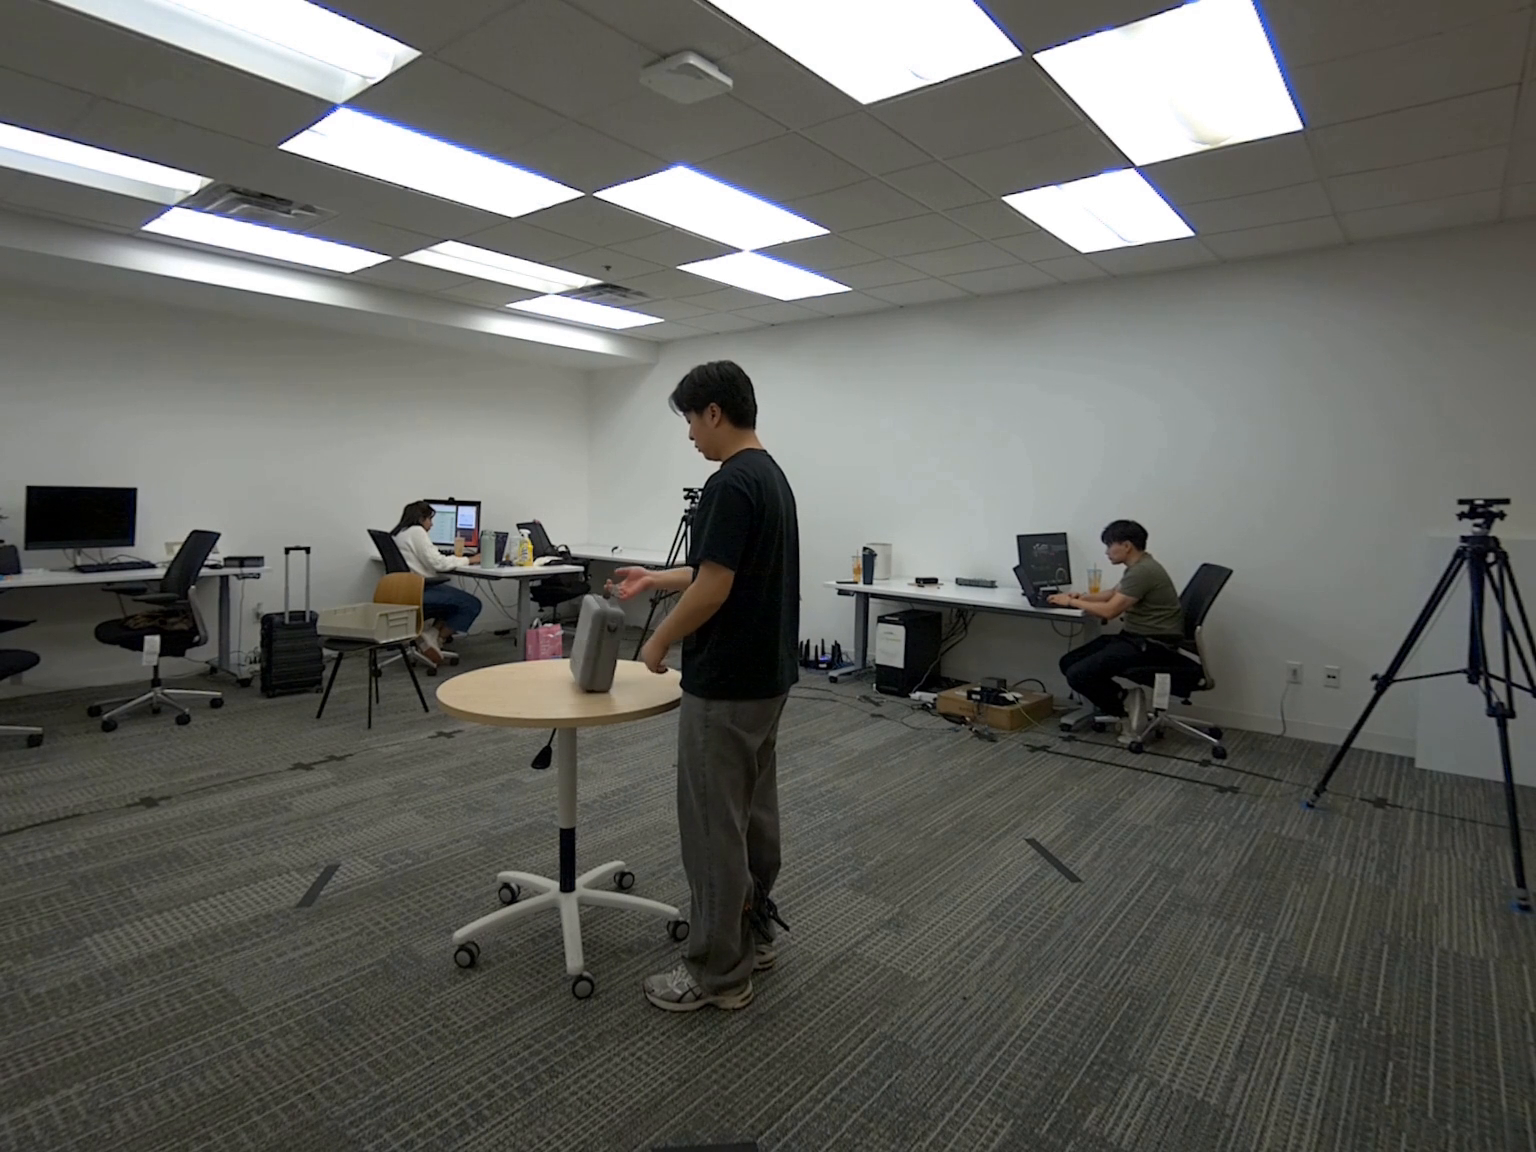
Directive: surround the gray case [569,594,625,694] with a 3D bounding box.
[{"bbox_3d":[-0.523,0.182,2.595,0.101,0.286,0.270,8,6,-19],"label":"gray case"}]
